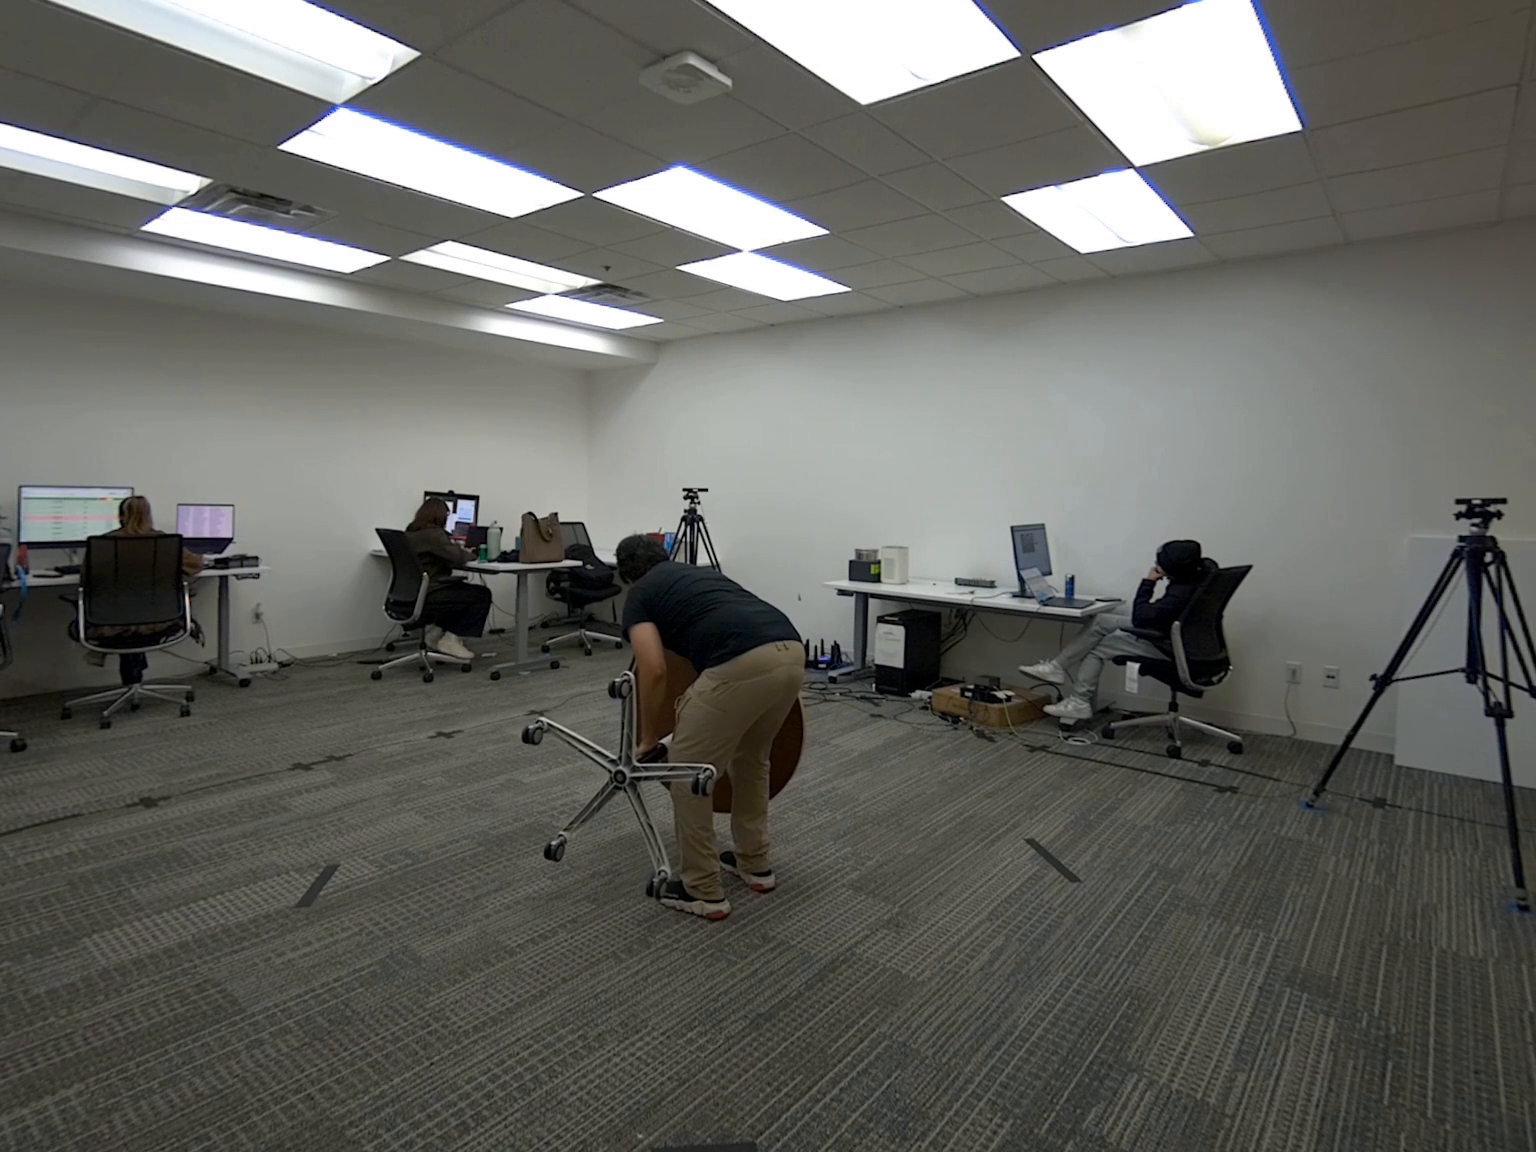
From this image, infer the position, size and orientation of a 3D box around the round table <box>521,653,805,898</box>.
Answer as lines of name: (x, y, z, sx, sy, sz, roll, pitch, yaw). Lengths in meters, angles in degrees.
round table: (-0.373, 0.598, 3.007, 0.805, 0.781, 0.771, 3, 7, 23)
